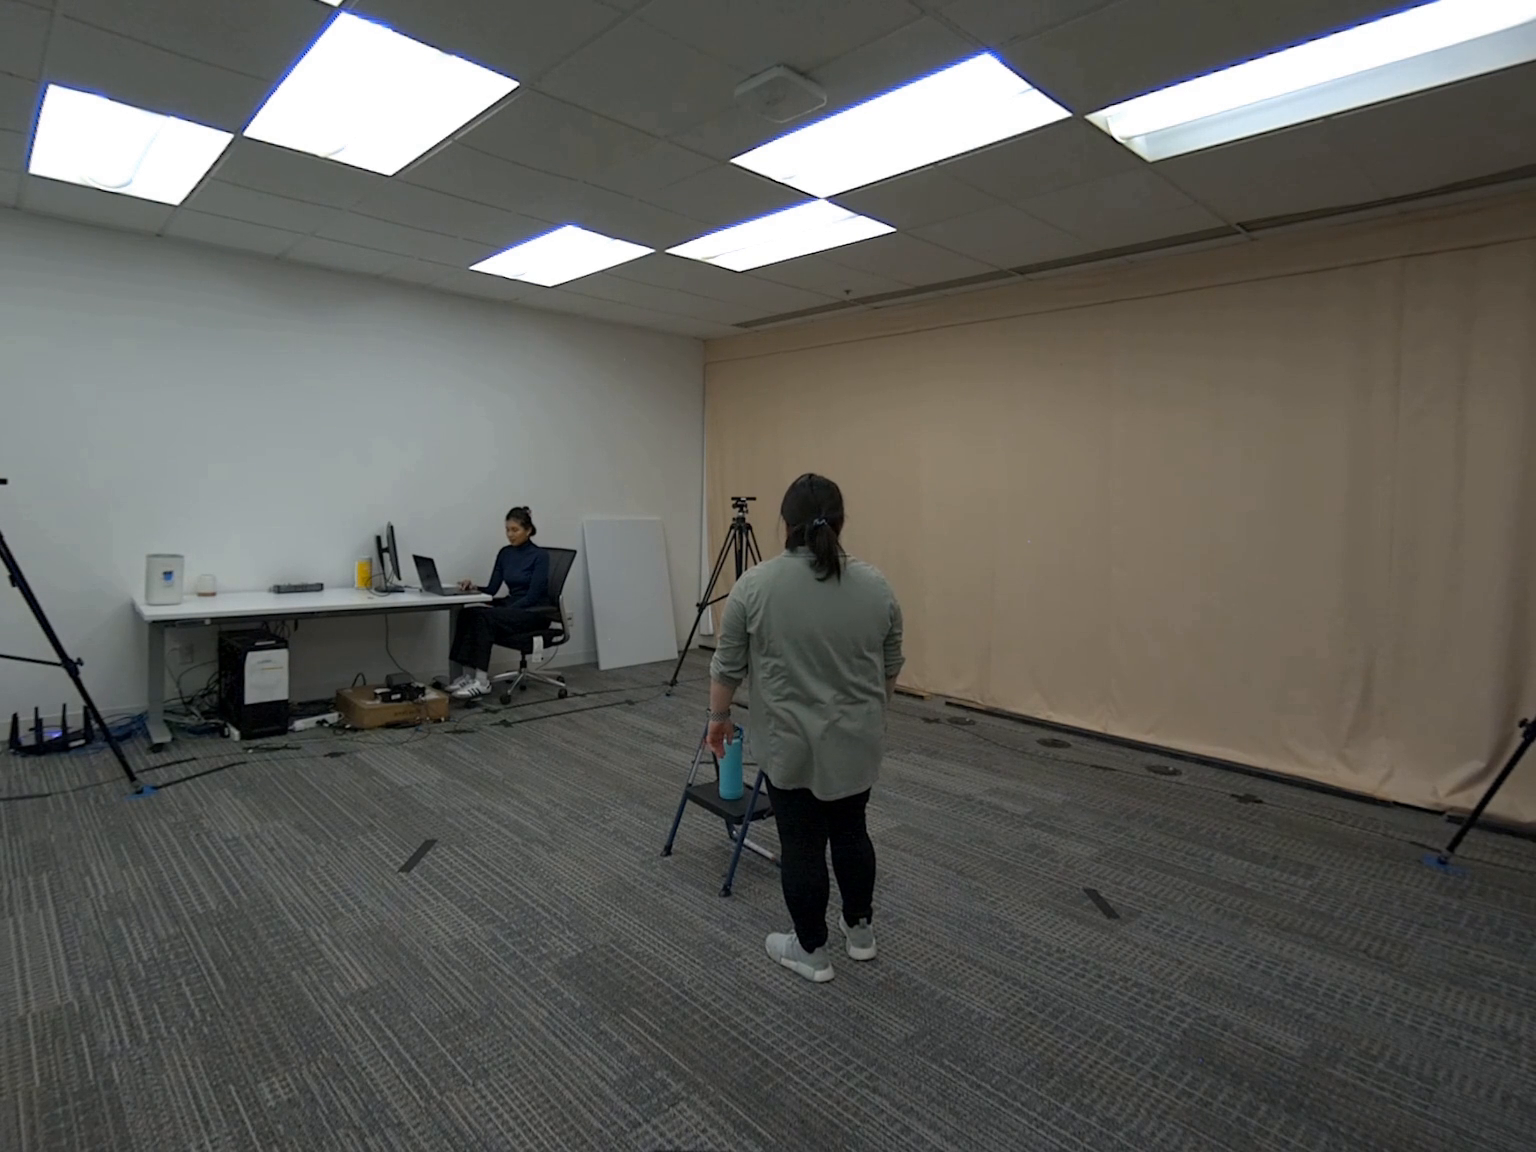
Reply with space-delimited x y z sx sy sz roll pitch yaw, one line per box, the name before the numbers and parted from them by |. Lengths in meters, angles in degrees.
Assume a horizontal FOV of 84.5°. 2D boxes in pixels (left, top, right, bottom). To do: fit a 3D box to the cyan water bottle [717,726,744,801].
cyan water bottle | -0.147 0.699 3.199 0.092 0.282 0.093 1 5 -1
